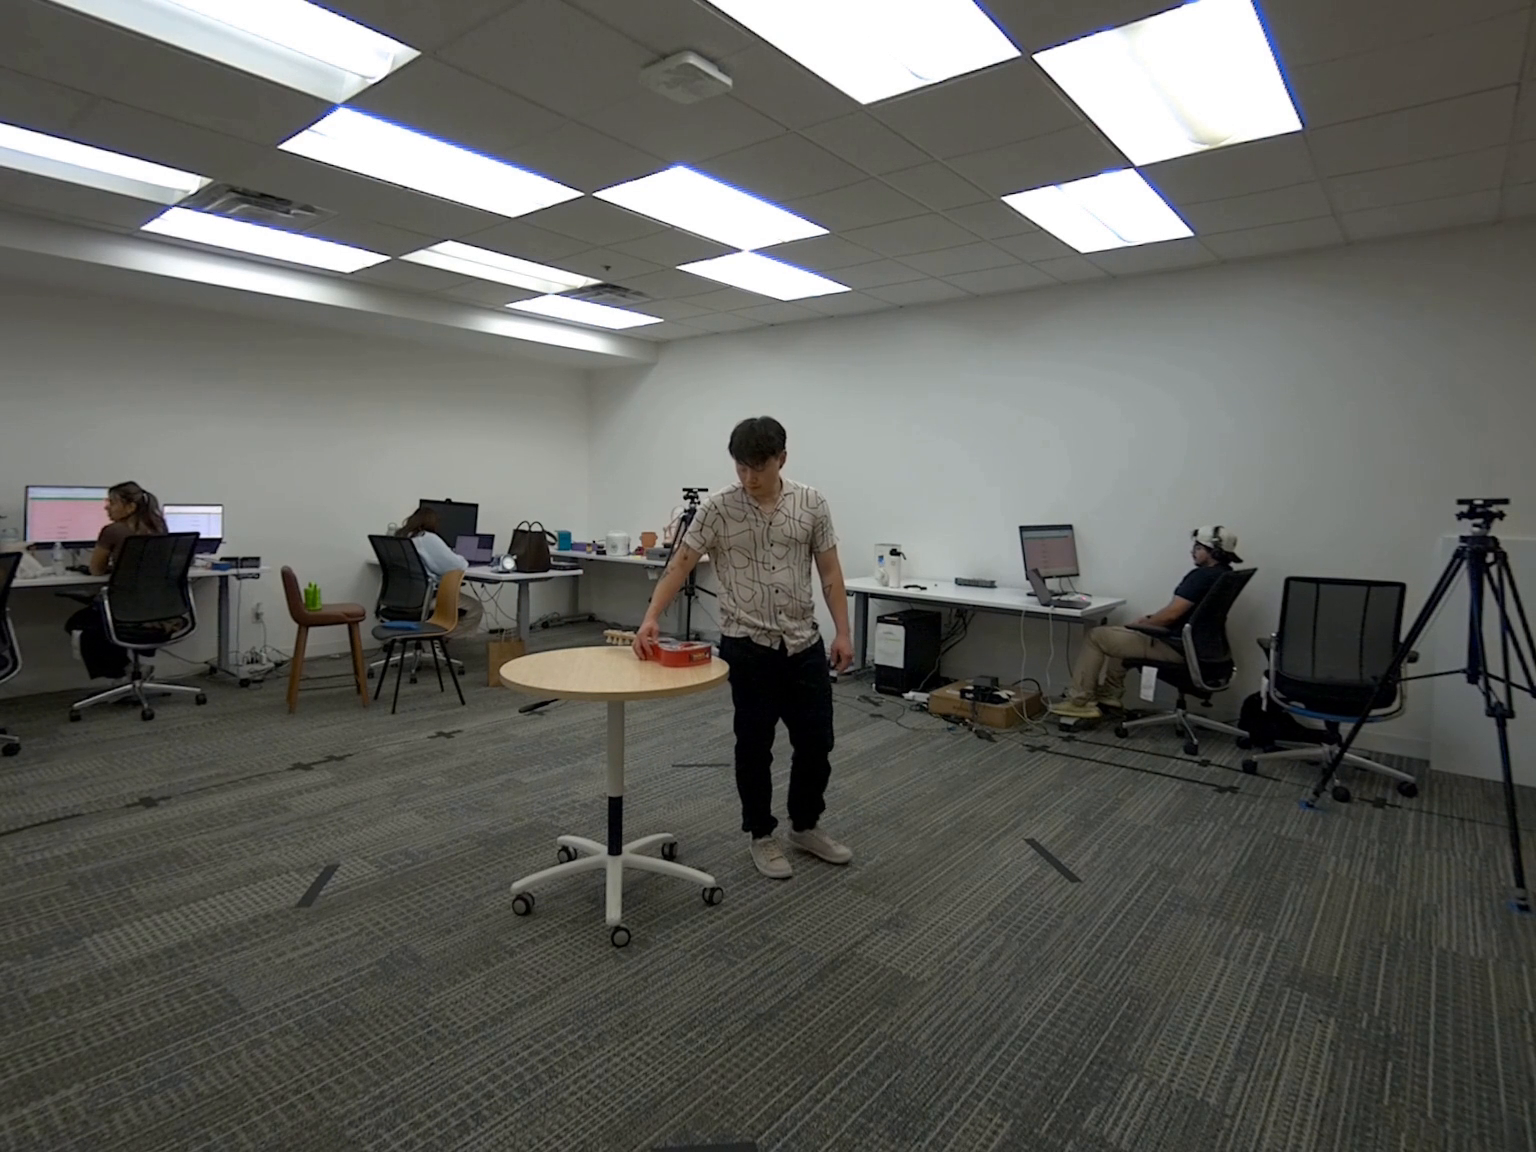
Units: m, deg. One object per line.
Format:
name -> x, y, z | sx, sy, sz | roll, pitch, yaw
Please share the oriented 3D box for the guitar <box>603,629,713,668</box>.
guitar -> -0.414, 0.256, 3.079 | 0.187, 0.070, 0.515 | -2, 6, -40
